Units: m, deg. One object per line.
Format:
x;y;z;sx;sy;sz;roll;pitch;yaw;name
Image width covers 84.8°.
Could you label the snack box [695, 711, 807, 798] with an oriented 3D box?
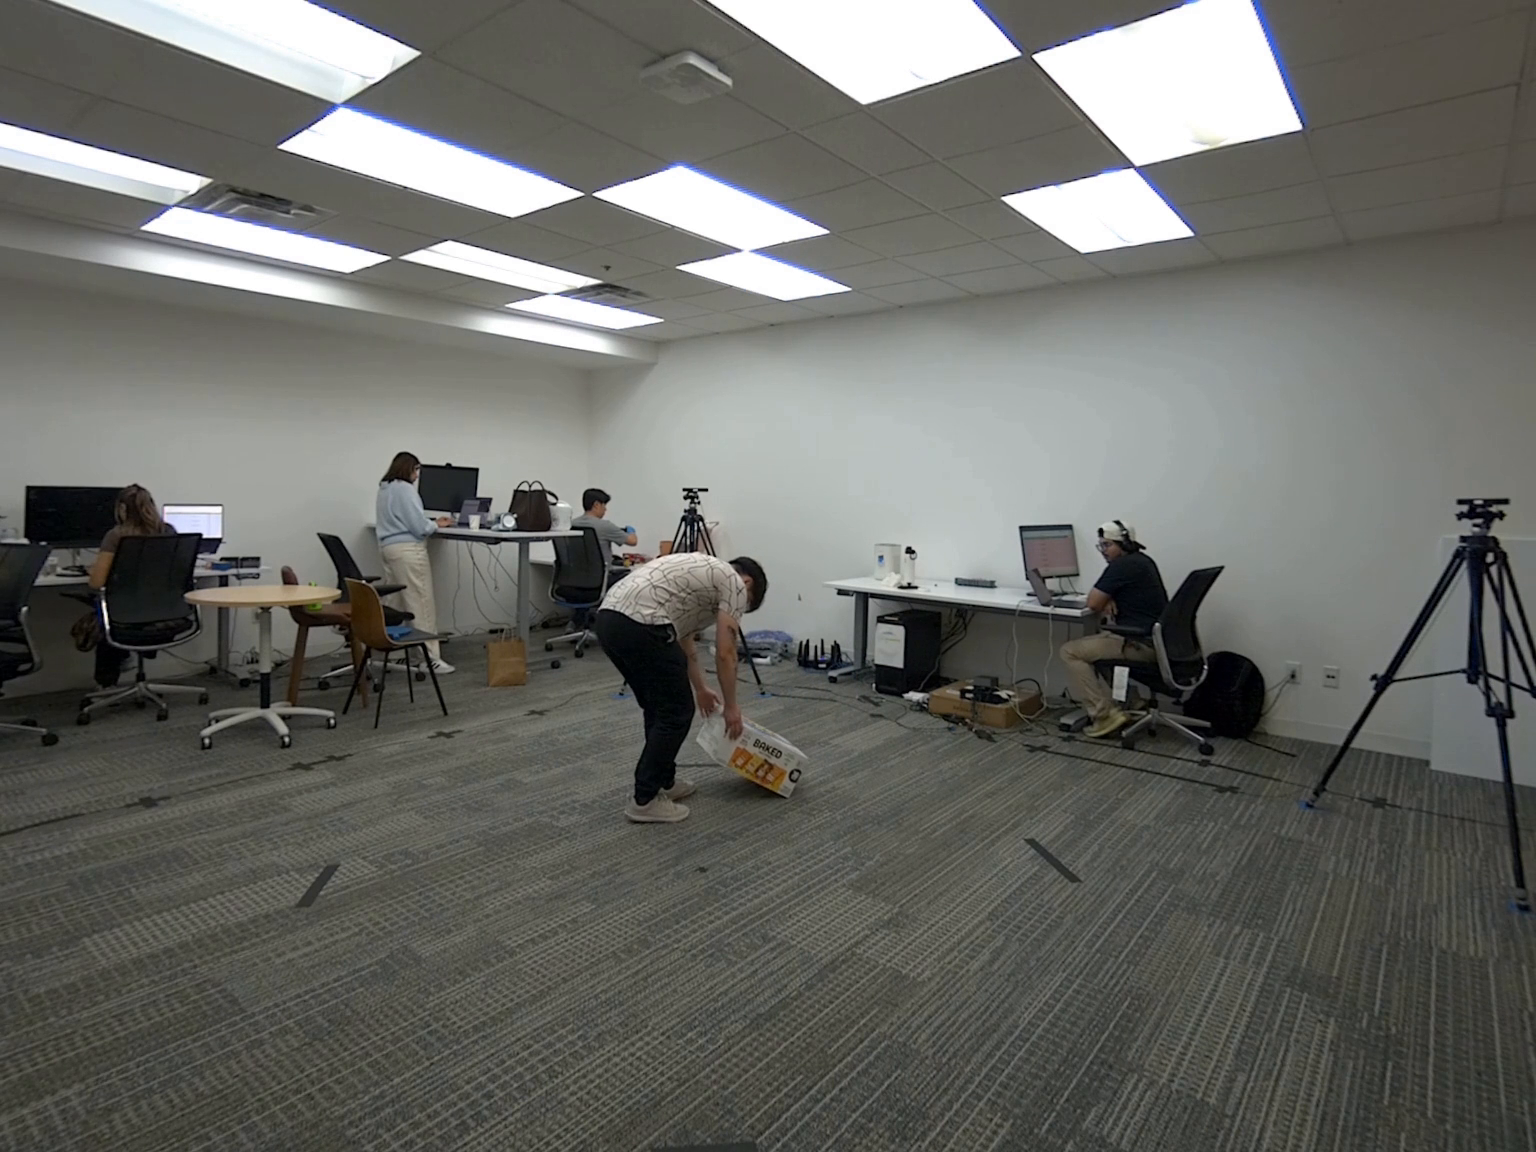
-0.088;0.805;3.967;0.396;0.206;0.347;29;-4;-17;snack box
